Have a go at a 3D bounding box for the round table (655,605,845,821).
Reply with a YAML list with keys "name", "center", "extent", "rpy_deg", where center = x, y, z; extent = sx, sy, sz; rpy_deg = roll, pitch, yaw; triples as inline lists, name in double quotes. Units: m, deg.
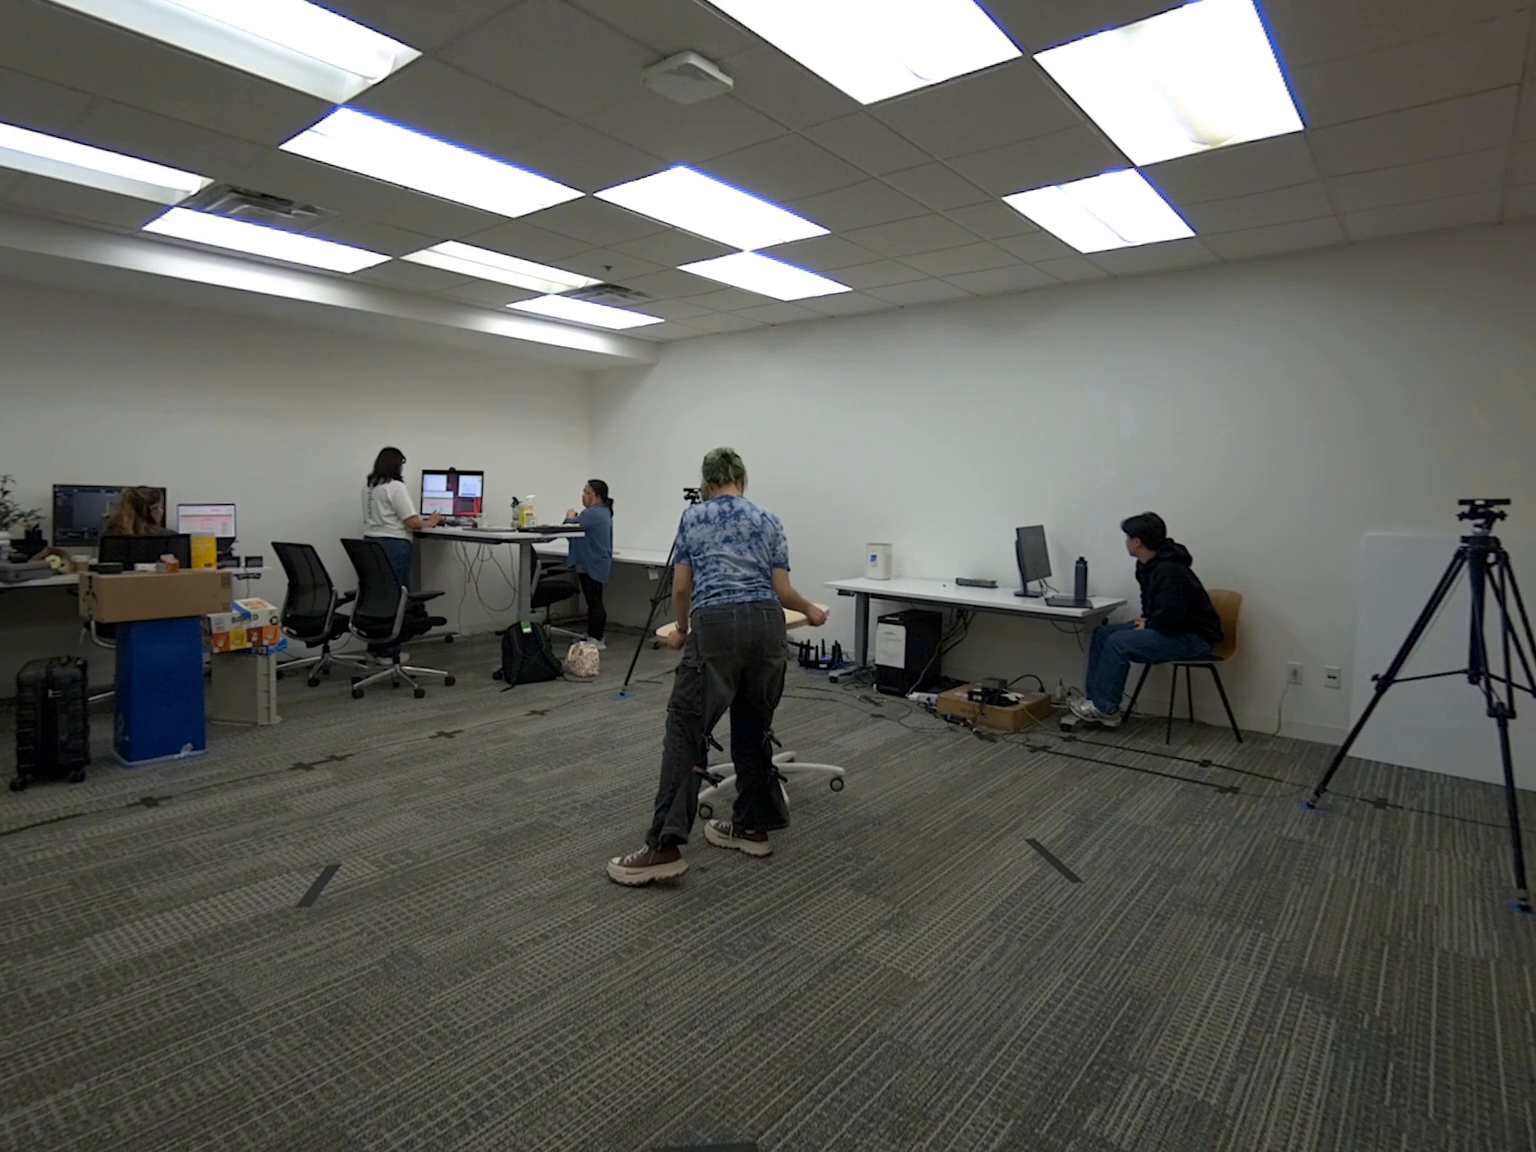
- name: "round table"
  center: [-0.065, 0.578, 3.760]
  extent: [0.763, 0.792, 0.766]
  rpy_deg: [-8, 3, -1]
